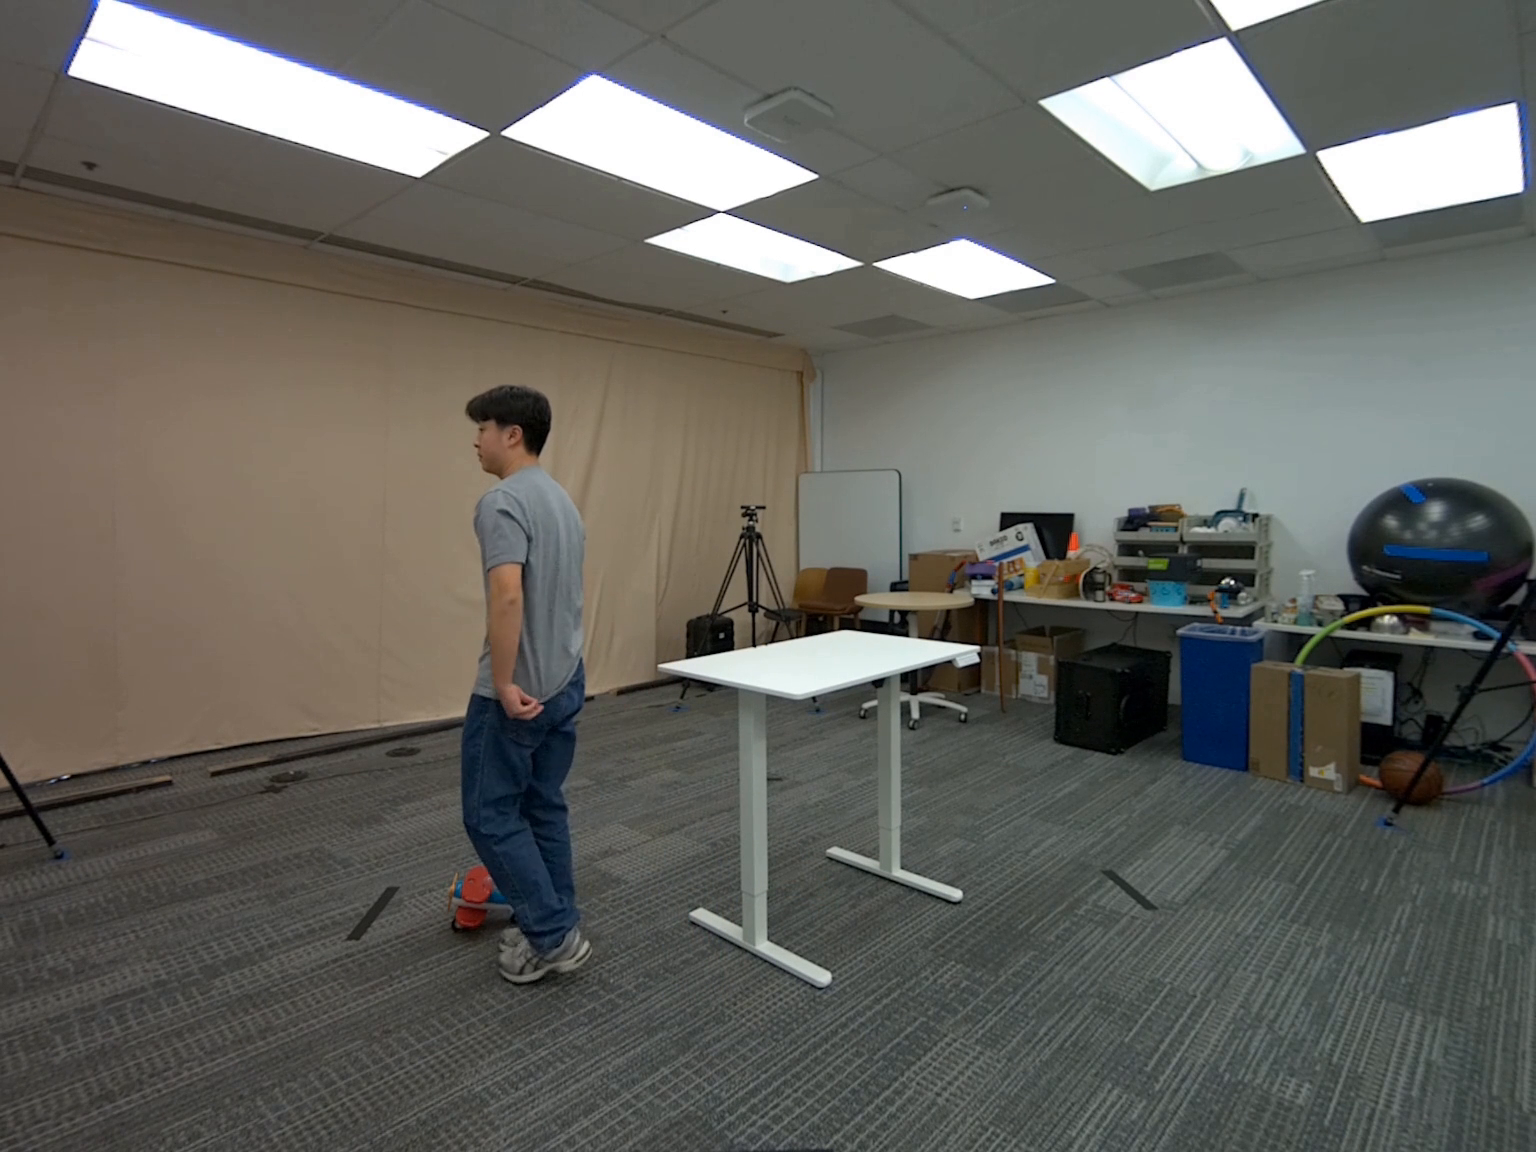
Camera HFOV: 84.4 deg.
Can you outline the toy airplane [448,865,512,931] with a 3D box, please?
[{"bbox_3d":[-0.947,1.087,2.834,0.252,0.156,0.259,-5,6,-37],"label":"toy airplane"}]
